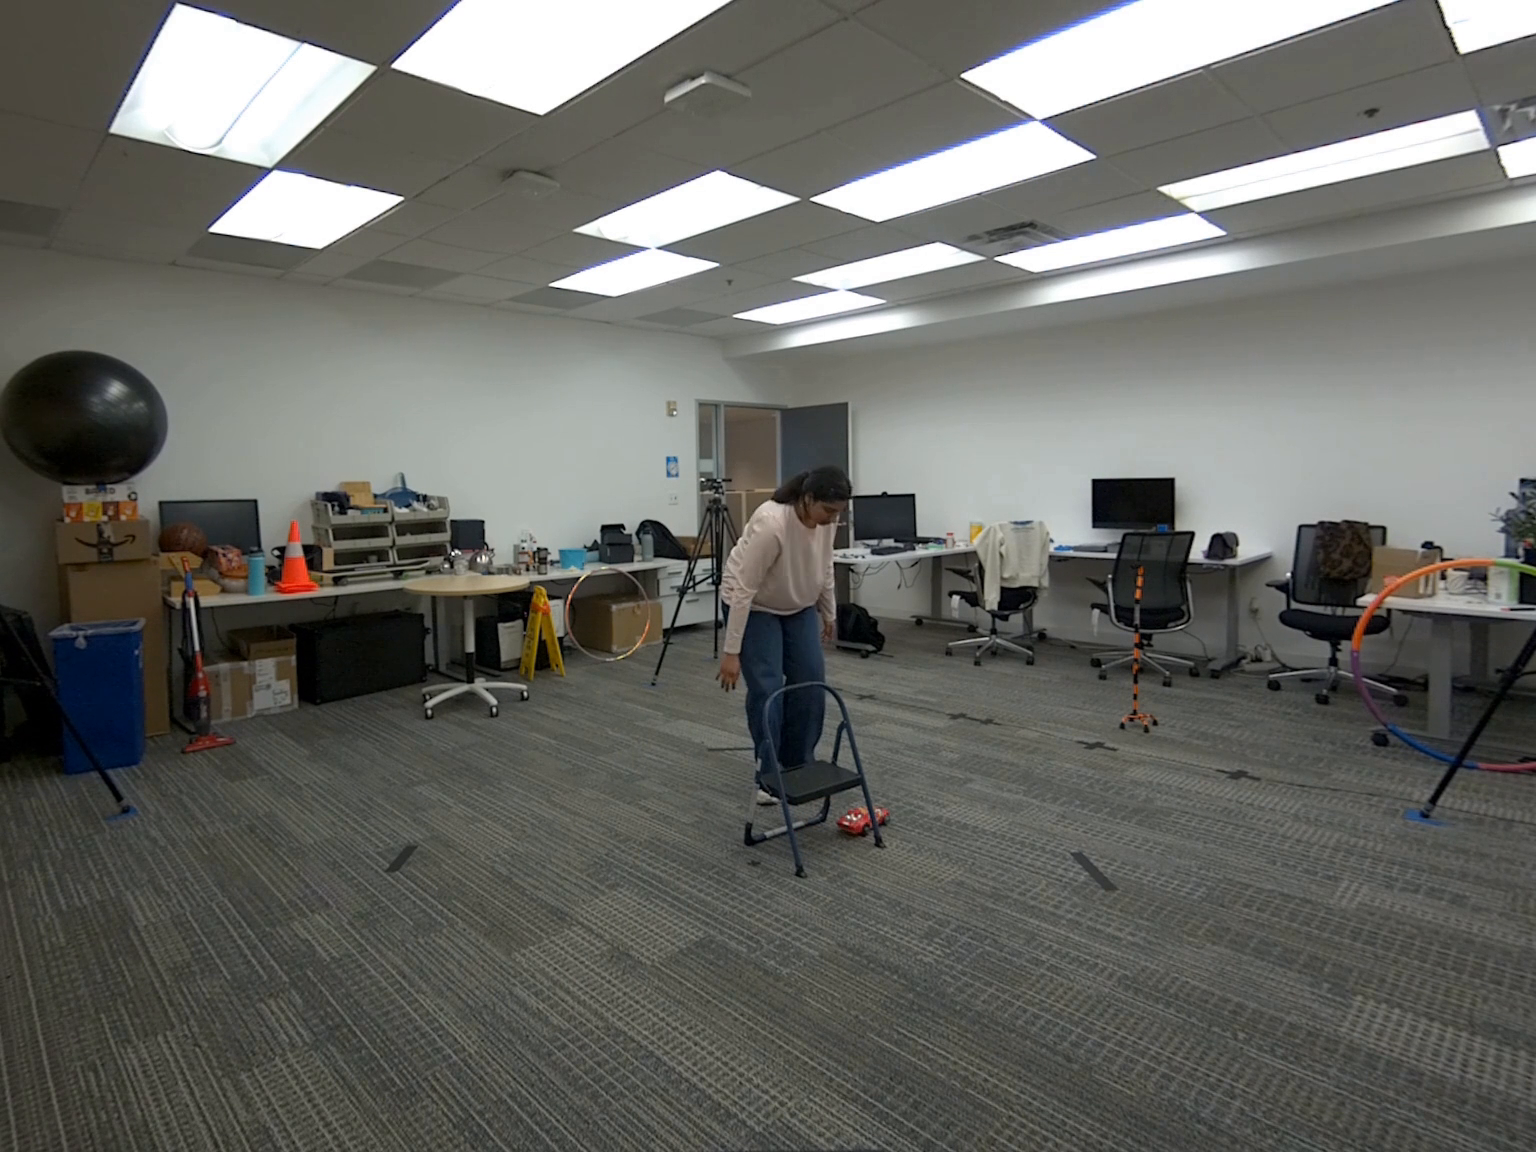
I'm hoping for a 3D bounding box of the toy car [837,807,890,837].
[{"bbox_3d":[0.375,0.972,3.402,0.134,0.083,0.246,5,-3,44],"label":"toy car"}]
